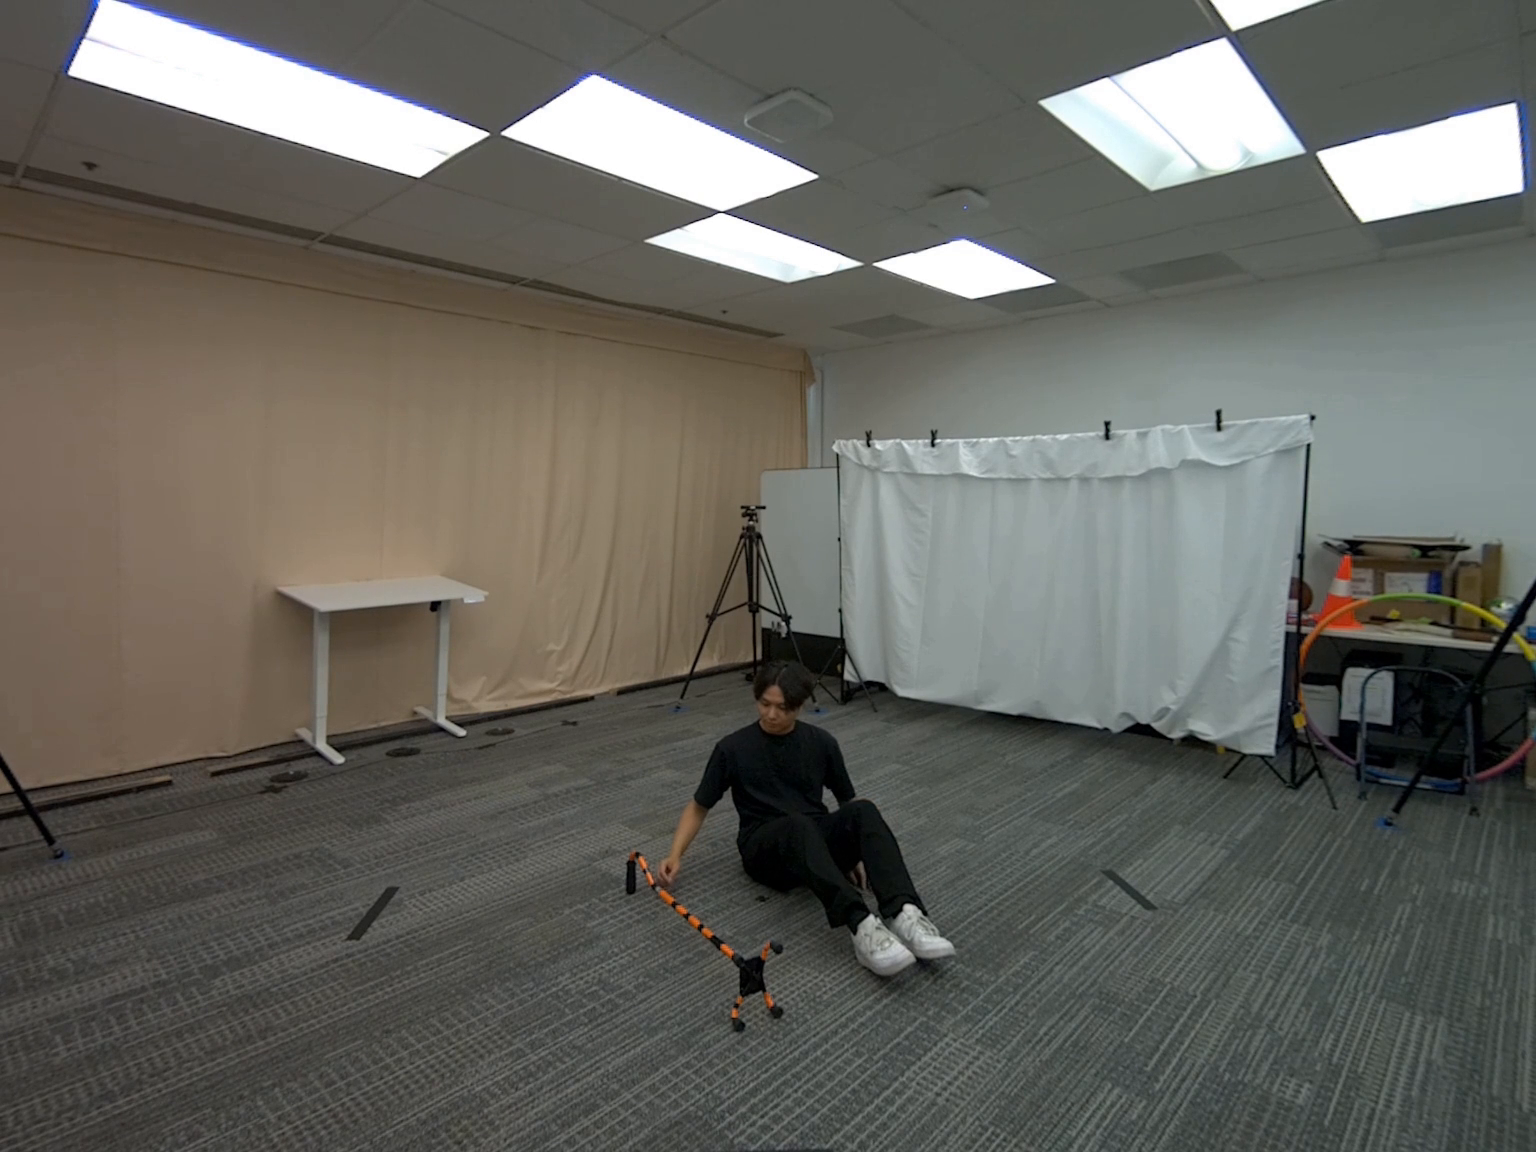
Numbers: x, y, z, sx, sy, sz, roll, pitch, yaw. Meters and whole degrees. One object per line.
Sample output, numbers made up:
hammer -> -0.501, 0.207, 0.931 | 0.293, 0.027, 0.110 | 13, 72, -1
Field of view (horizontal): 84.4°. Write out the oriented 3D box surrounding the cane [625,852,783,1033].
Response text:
cane -> -0.262, 1.062, 2.648 | 0.147, 0.206, 0.935 | -4, 5, -32
